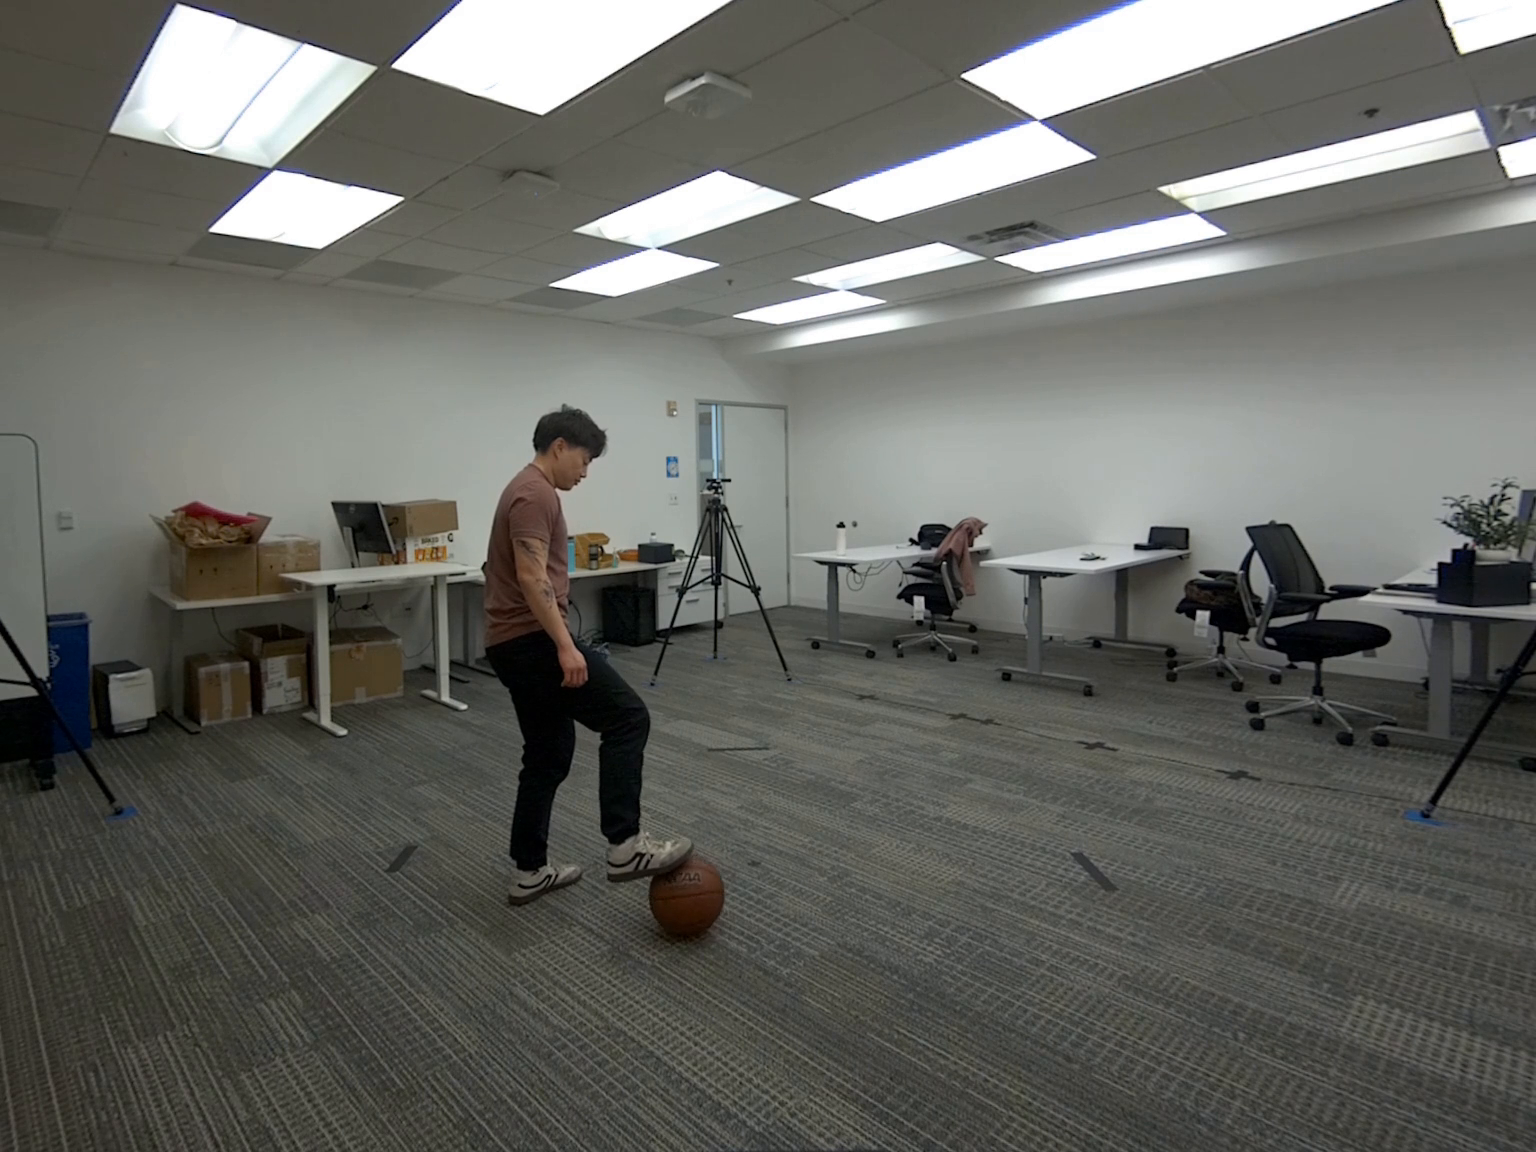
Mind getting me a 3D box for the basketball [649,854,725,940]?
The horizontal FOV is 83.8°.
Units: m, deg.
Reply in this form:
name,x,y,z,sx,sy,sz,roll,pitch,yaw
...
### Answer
name,x,y,z,sx,sy,sz,roll,pitch,yaw
basketball,-0.252,0.987,2.648,0.236,0.235,0.237,-1,5,-2
